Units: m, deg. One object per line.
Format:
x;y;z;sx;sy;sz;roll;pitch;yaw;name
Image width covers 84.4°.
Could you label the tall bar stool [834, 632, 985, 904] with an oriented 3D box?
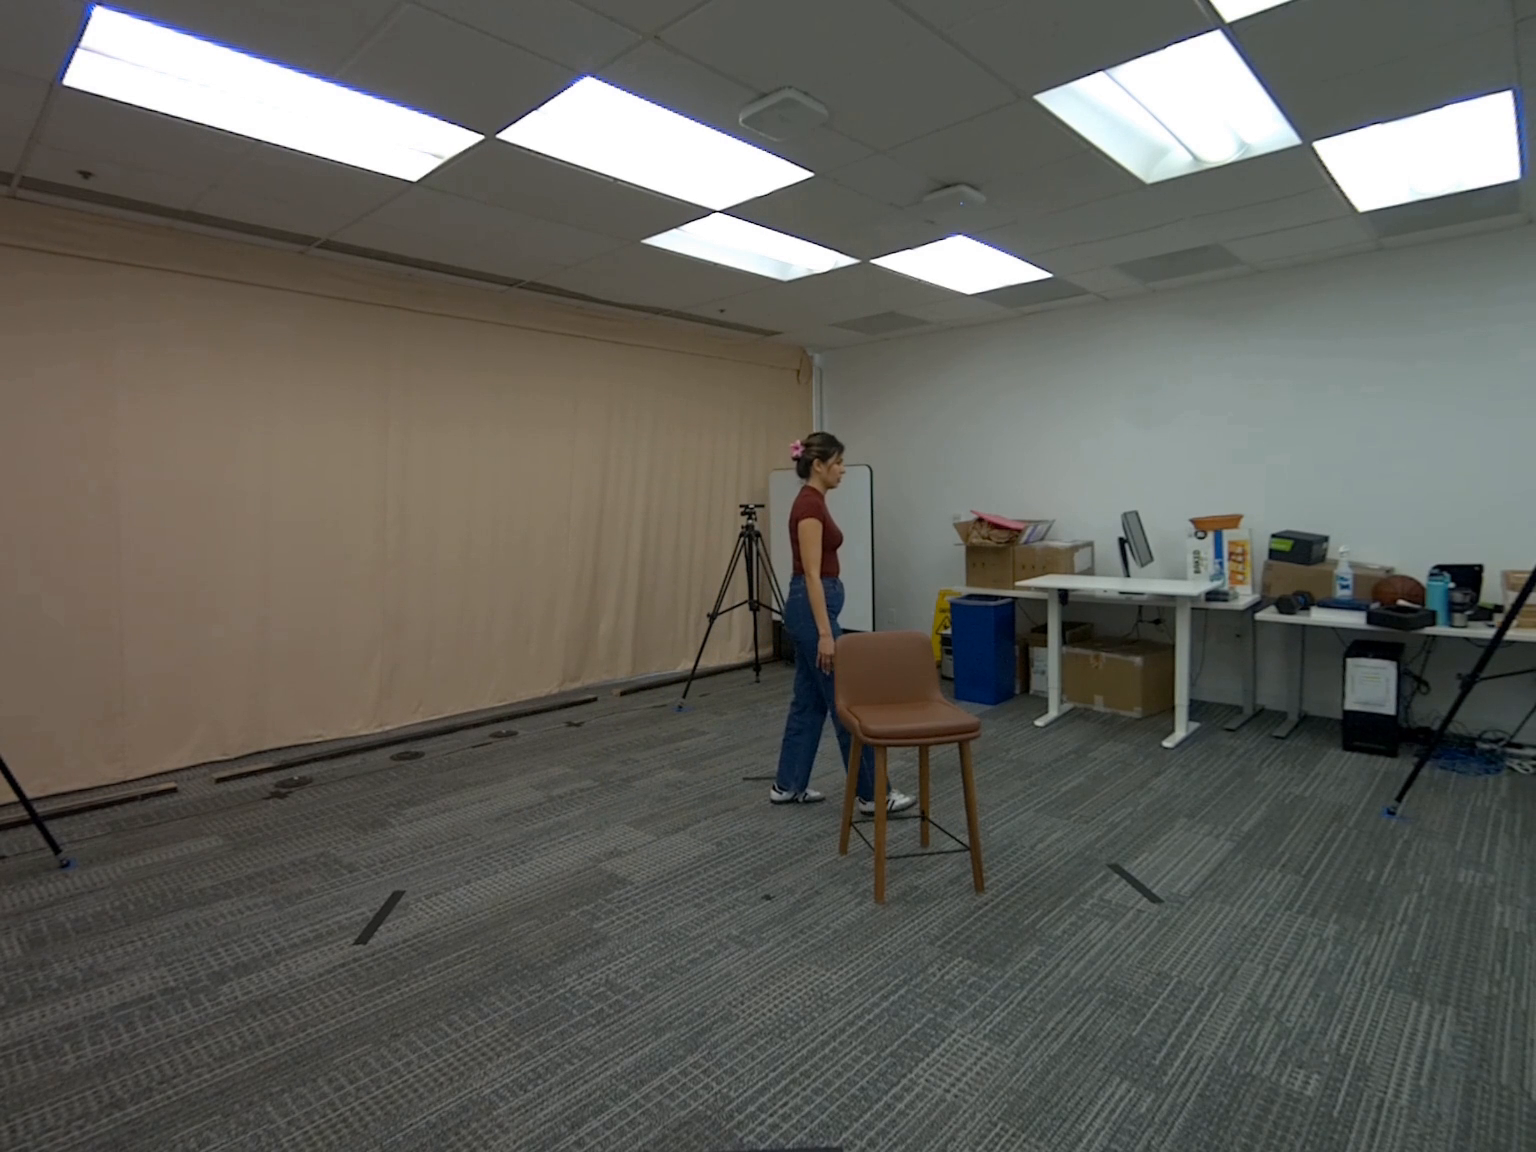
0.516;0.677;3.163;0.450;0.889;0.474;-1;1;-13;tall bar stool
